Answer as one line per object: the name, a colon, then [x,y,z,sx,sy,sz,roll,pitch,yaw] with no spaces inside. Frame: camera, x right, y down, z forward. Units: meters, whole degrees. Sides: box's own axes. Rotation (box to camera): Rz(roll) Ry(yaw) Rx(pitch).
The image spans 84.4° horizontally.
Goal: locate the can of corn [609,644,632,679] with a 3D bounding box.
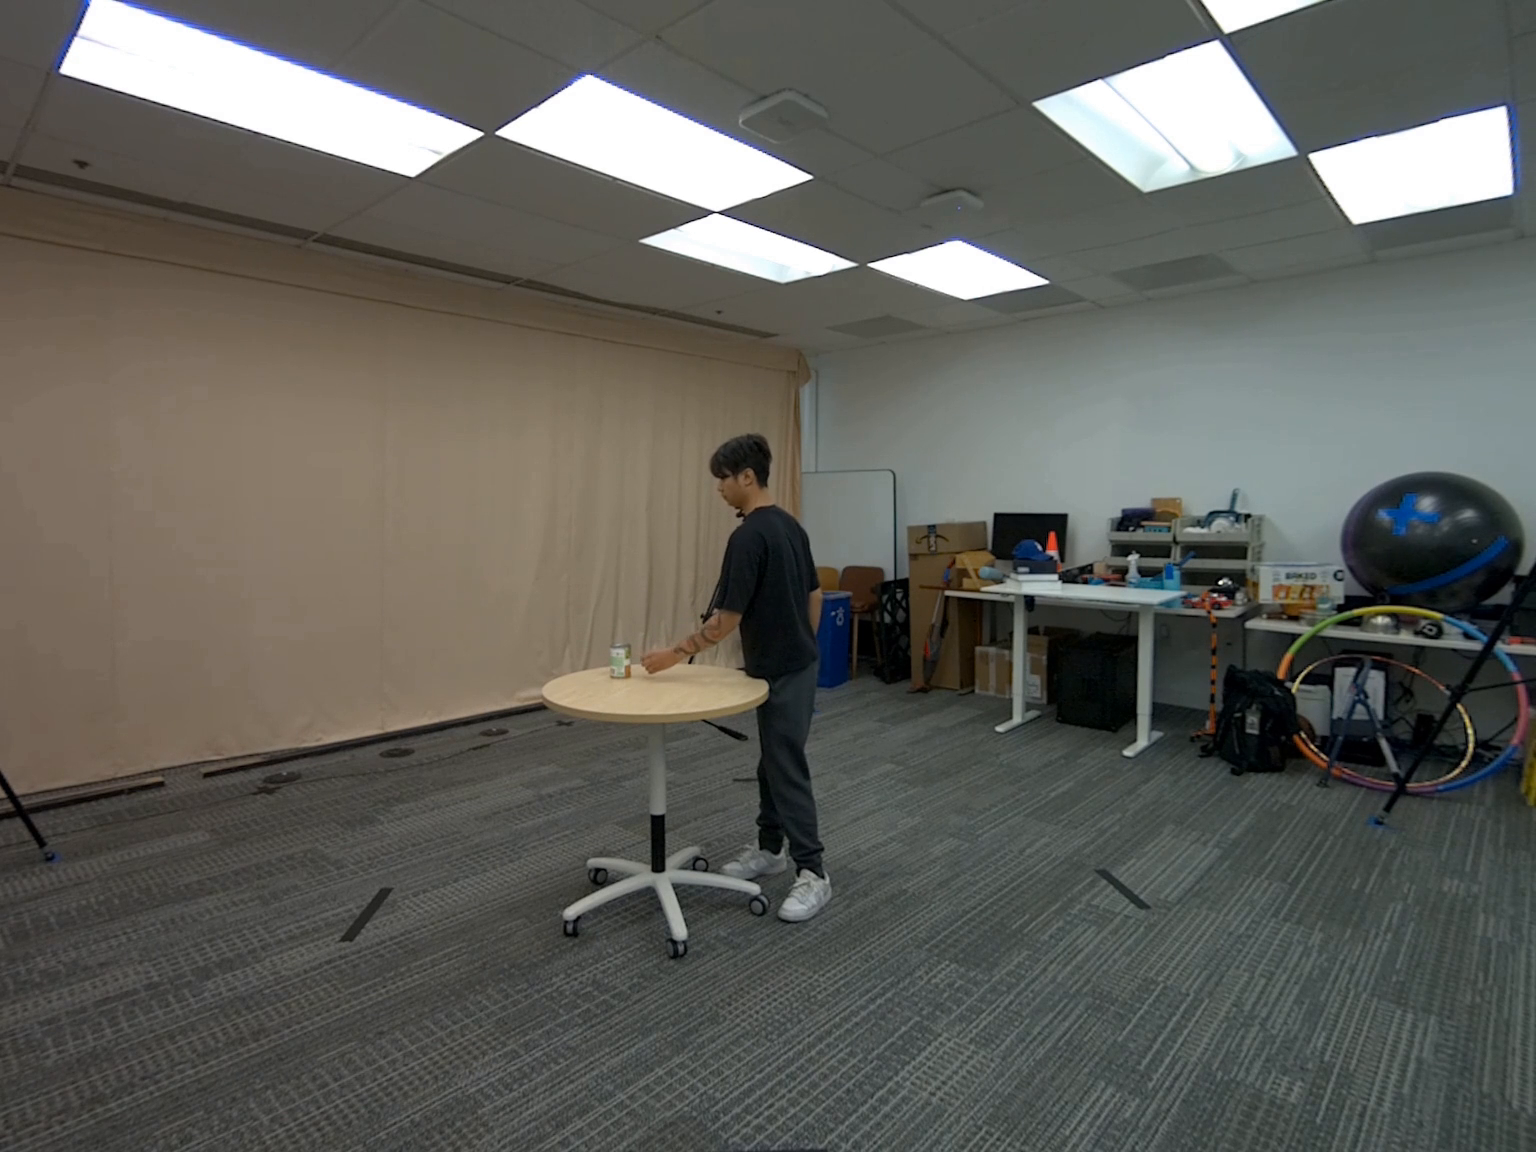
can of corn: [-0.527,0.308,3.008,0.074,0.111,0.074,-1,1,-2]
